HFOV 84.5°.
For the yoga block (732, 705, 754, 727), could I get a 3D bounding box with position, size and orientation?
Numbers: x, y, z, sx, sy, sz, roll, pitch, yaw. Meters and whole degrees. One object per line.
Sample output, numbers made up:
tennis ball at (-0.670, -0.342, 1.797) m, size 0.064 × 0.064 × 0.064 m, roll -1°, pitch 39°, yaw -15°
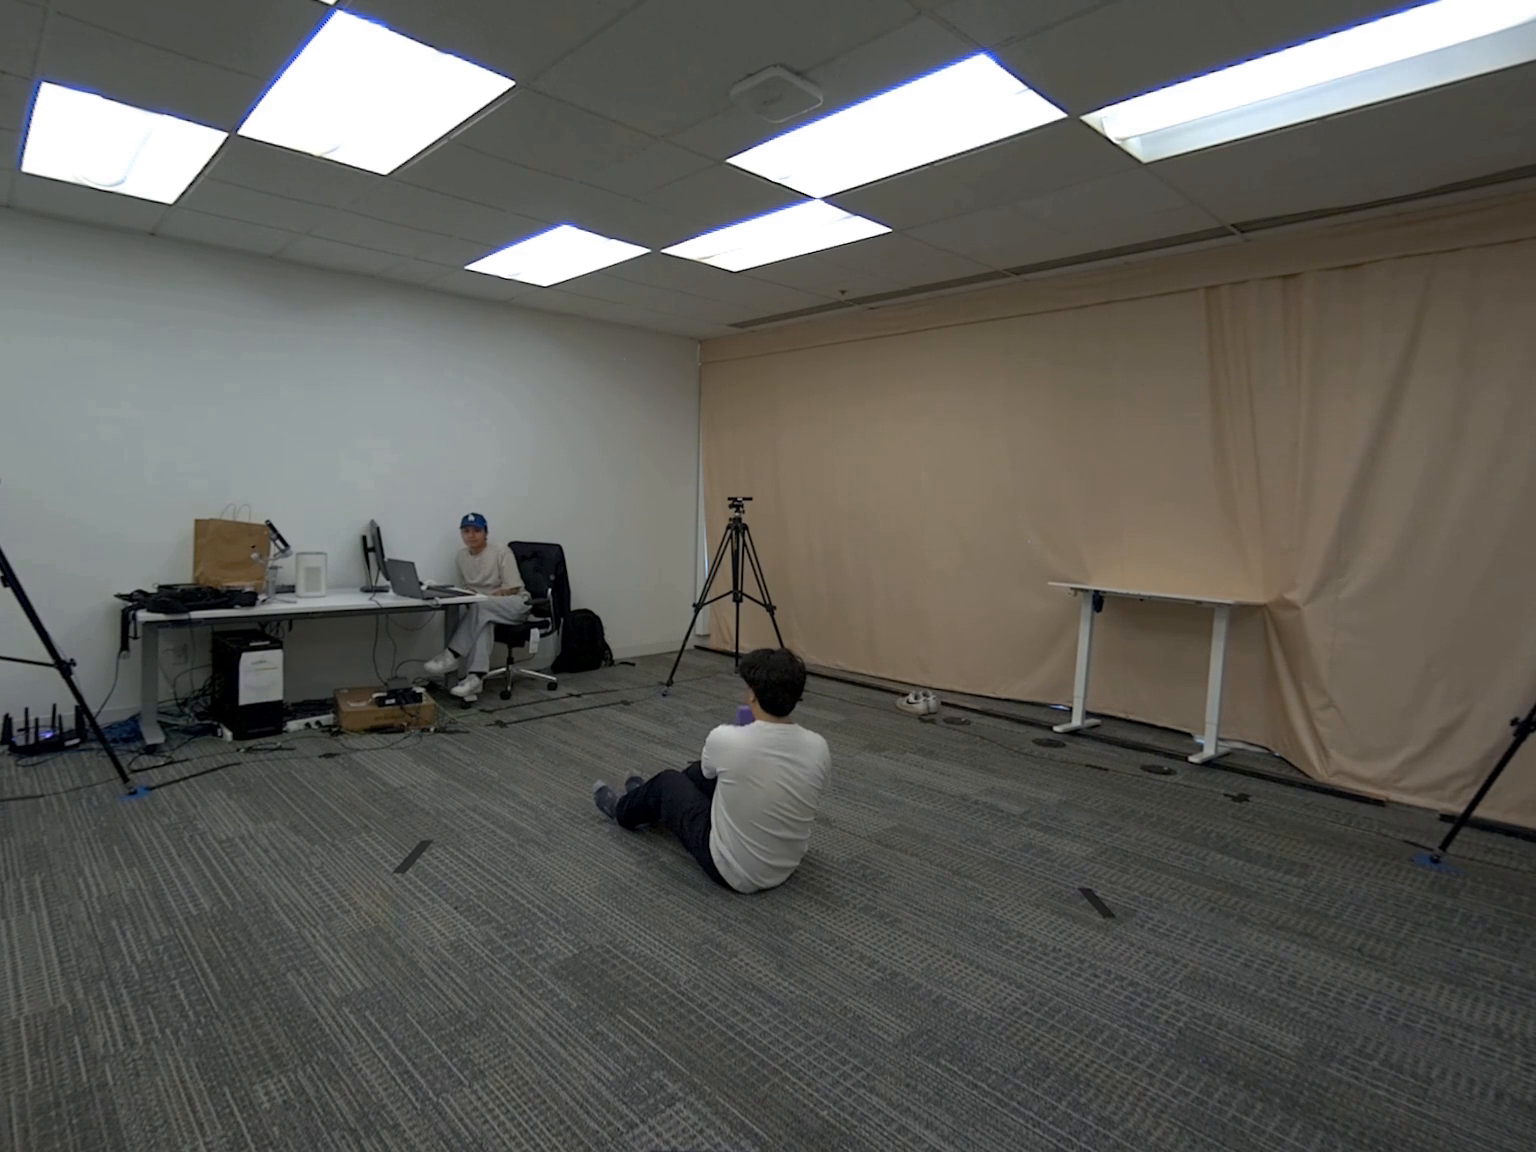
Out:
yoga block at (-0.058, 0.675, 3.554) m, size 0.149 × 0.230 × 0.076 m, roll 3°, pitch -4°, yaw -3°
